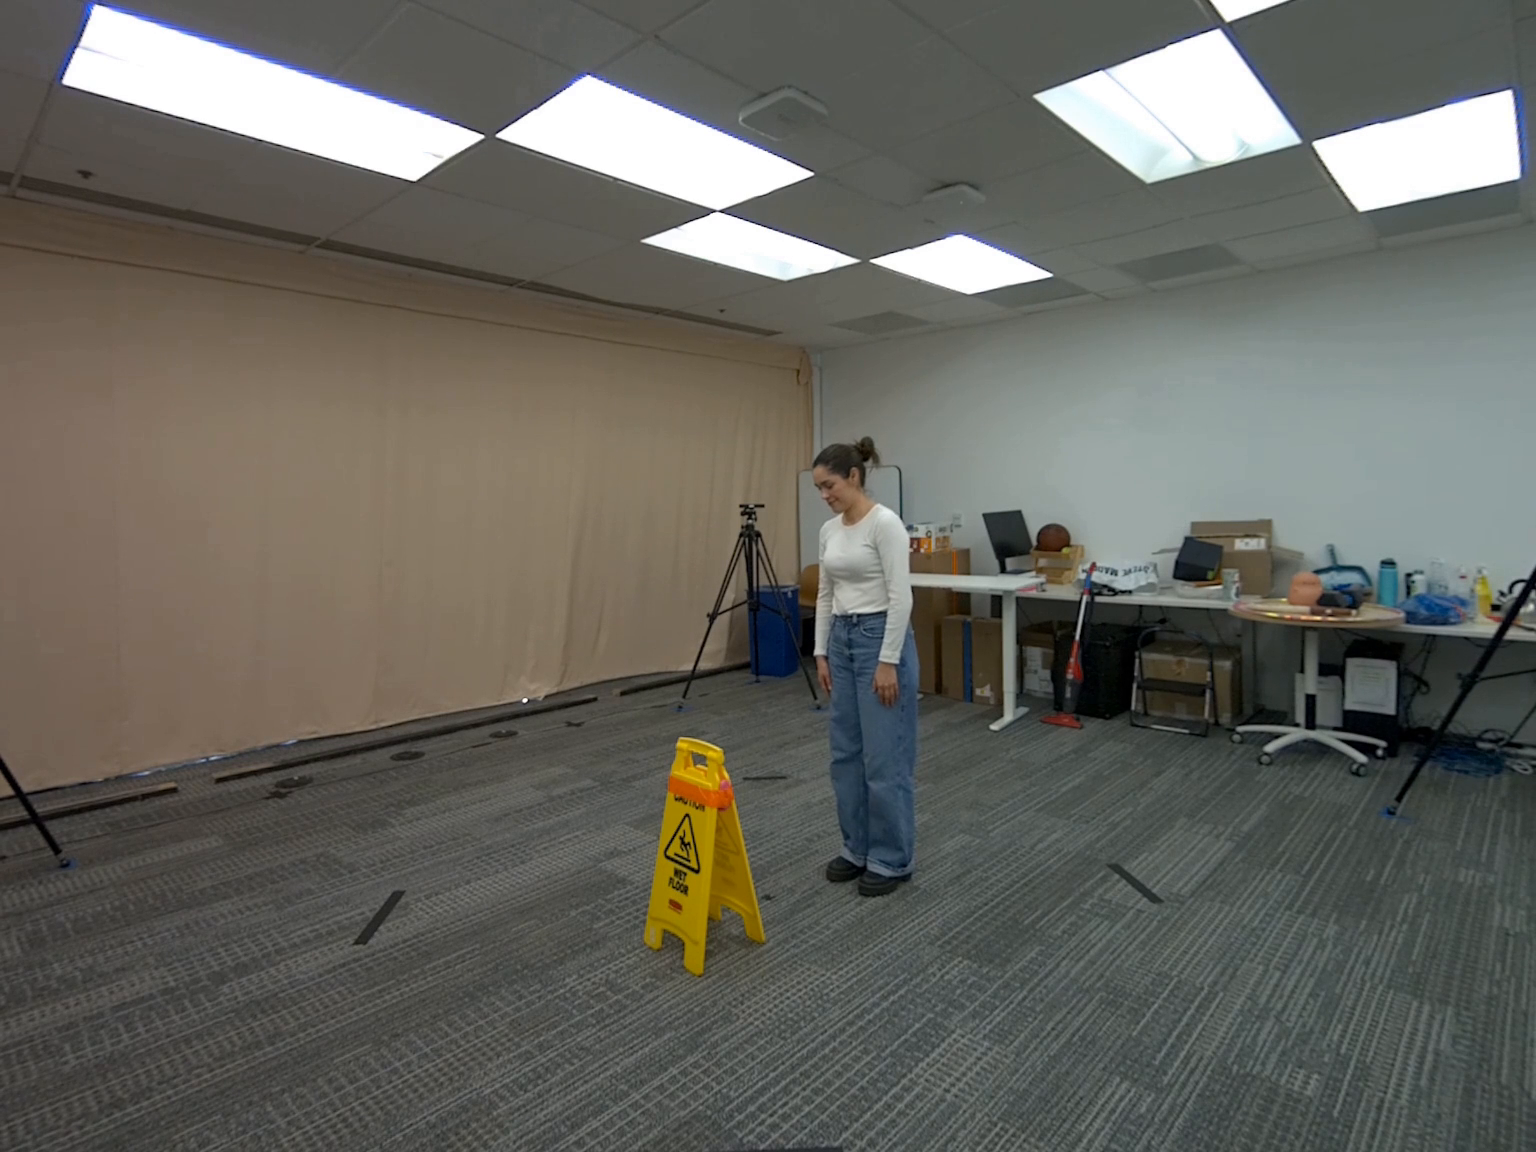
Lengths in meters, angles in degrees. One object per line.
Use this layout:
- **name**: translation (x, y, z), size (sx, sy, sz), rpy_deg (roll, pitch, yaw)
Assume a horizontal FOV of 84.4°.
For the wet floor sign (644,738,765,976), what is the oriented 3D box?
- **wet floor sign**: translation (-0.203, 0.844, 2.667), size (0.281, 0.645, 0.291), rpy_deg (-3, 4, -44)
